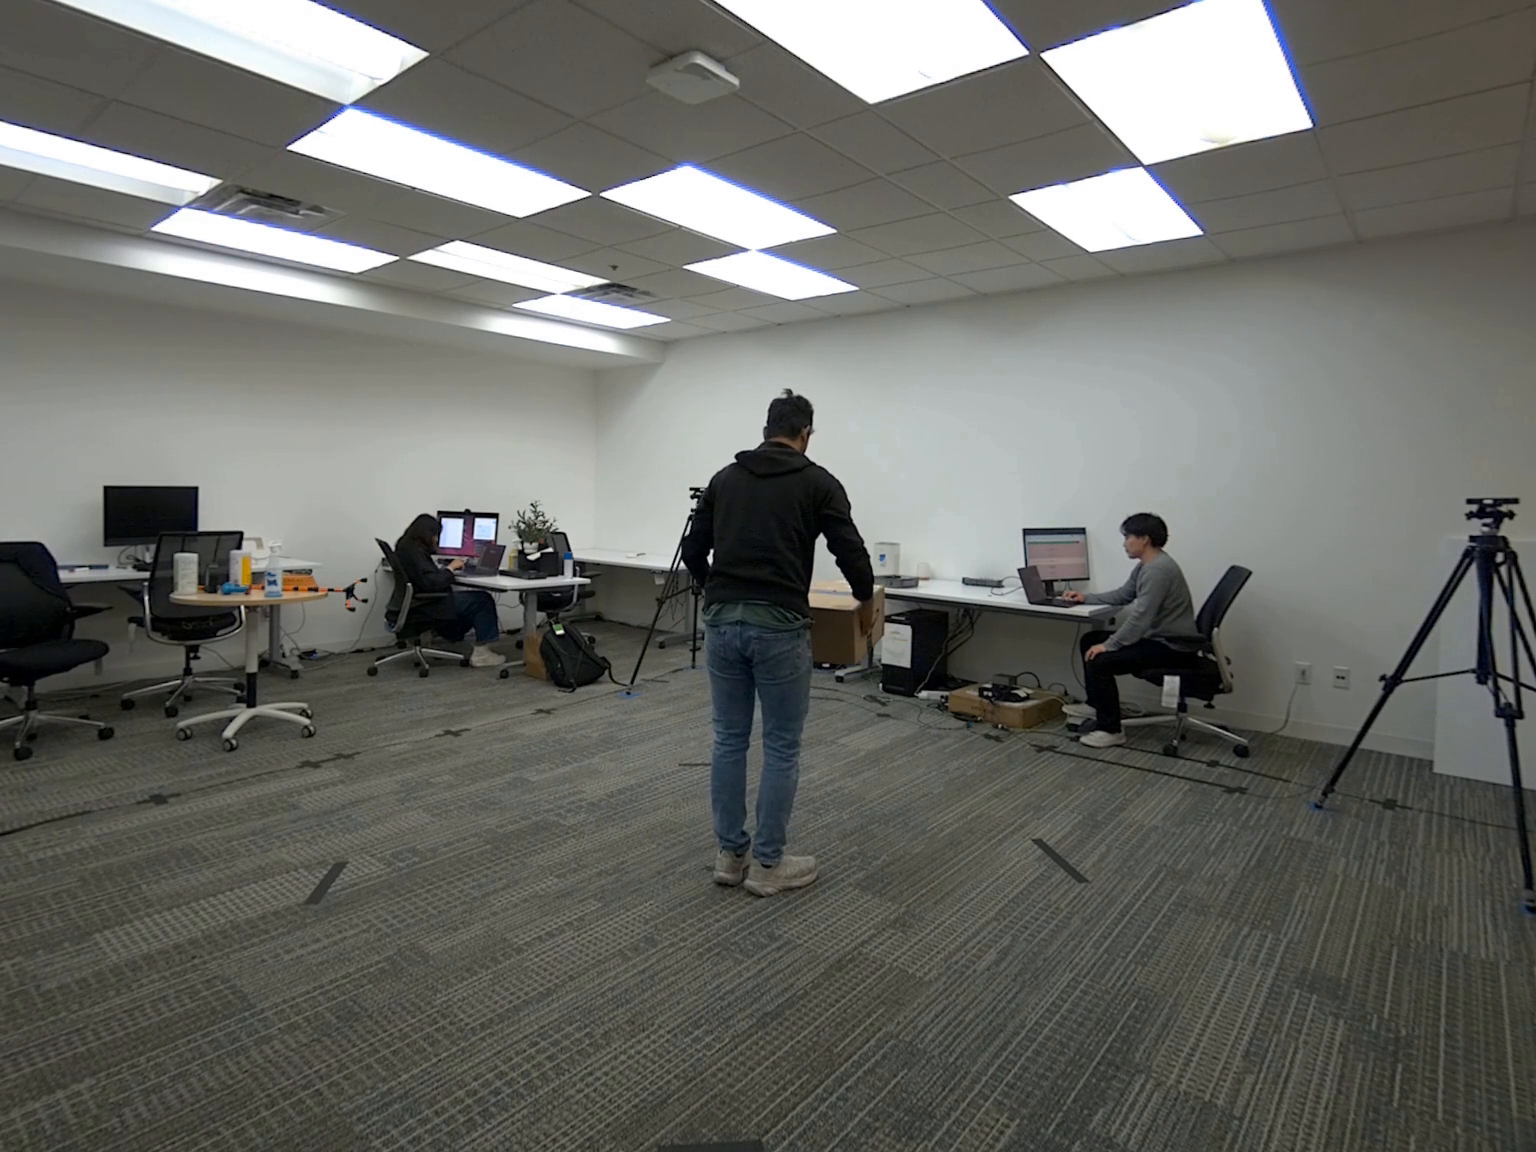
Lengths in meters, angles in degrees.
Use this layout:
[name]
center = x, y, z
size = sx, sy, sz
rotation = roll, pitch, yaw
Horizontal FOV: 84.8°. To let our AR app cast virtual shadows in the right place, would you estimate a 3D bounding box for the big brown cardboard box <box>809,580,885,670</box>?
[big brown cardboard box]
center = 0.136, 0.170, 3.402
size = 0.604, 0.231, 0.411
rotation = 3, 12, 25
